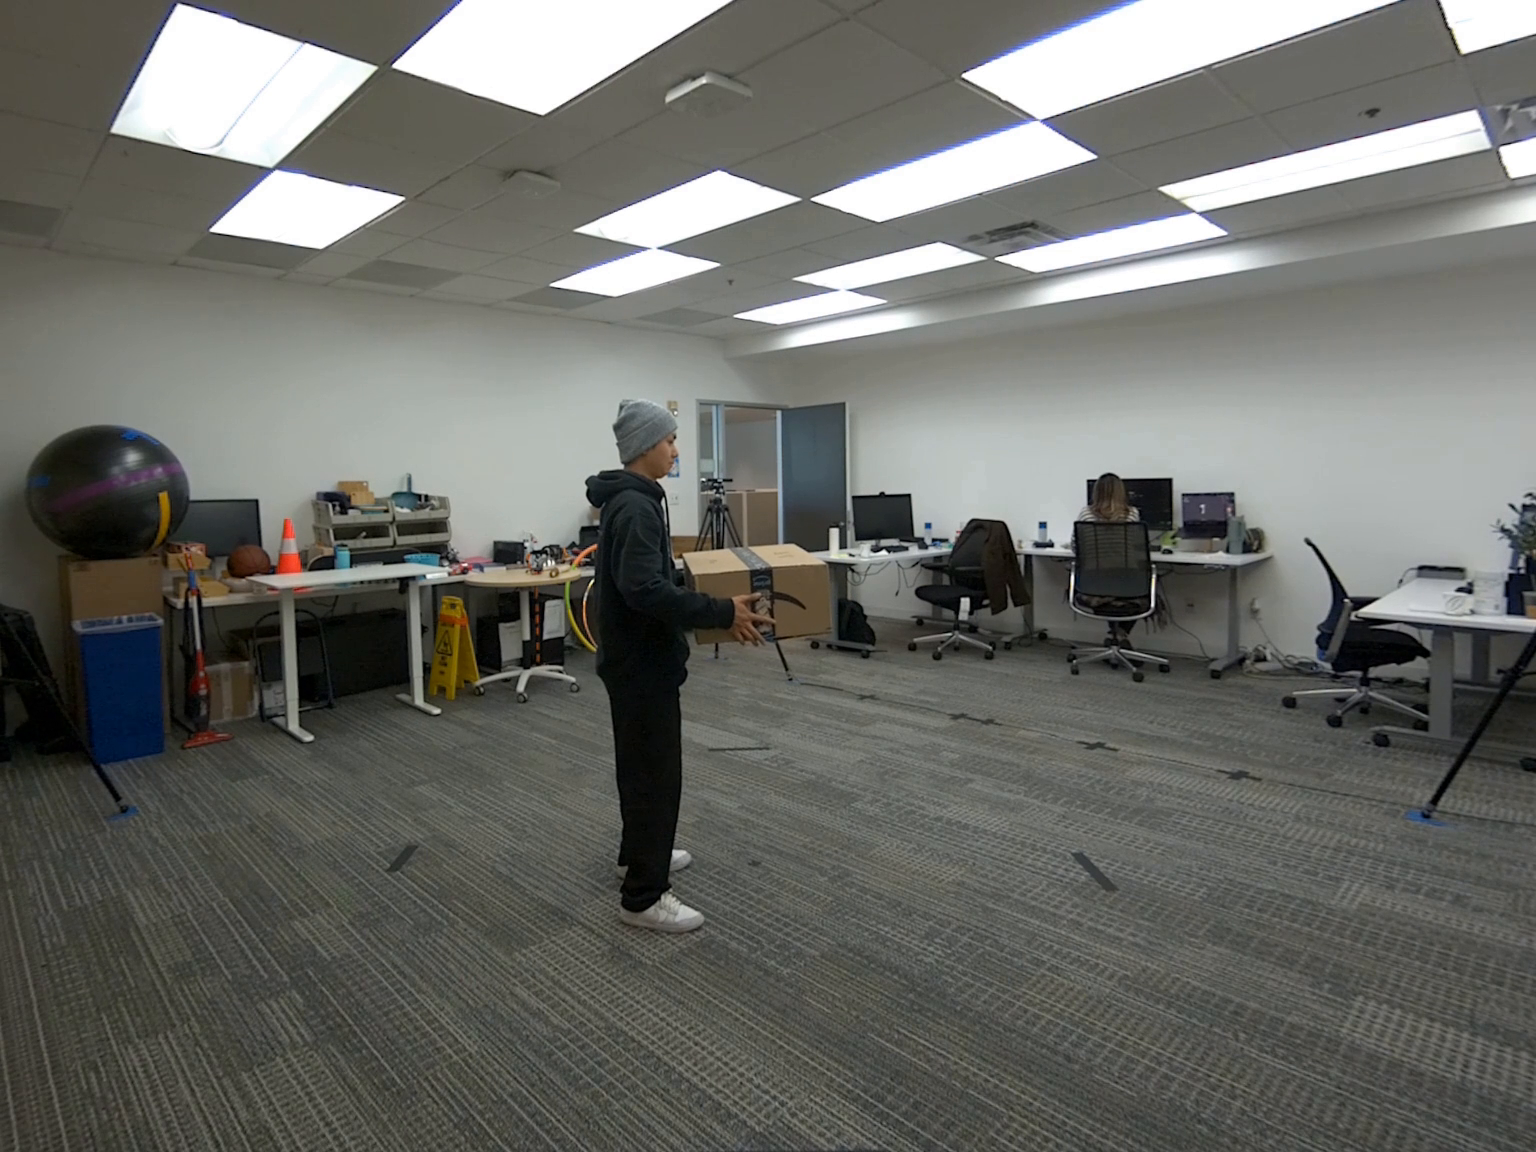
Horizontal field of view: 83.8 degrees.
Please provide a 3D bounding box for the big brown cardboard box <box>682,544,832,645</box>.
[{"bbox_3d":[-0.061,0.046,2.856,0.416,0.231,0.596,-4,9,-5],"label":"big brown cardboard box"}]
